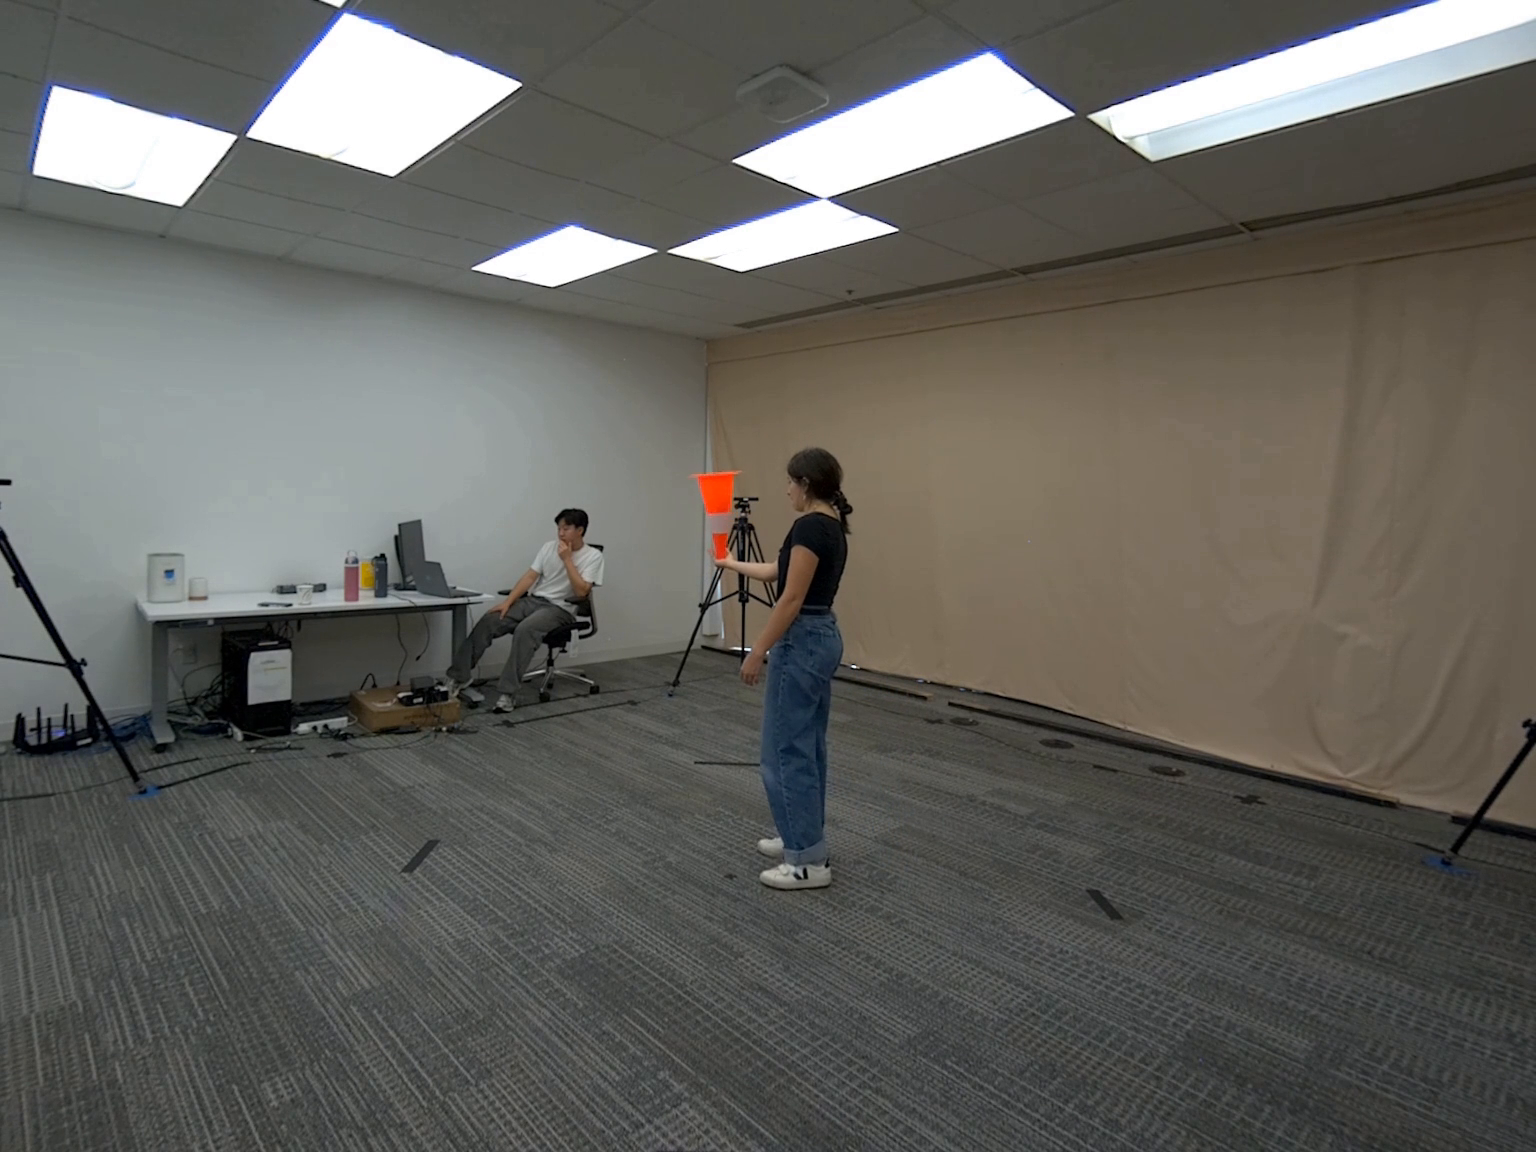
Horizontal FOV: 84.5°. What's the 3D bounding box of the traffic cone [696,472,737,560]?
[{"bbox_3d":[-0.235,-0.248,3.649,0.207,0.382,0.202,-1,7,13],"label":"traffic cone"}]
